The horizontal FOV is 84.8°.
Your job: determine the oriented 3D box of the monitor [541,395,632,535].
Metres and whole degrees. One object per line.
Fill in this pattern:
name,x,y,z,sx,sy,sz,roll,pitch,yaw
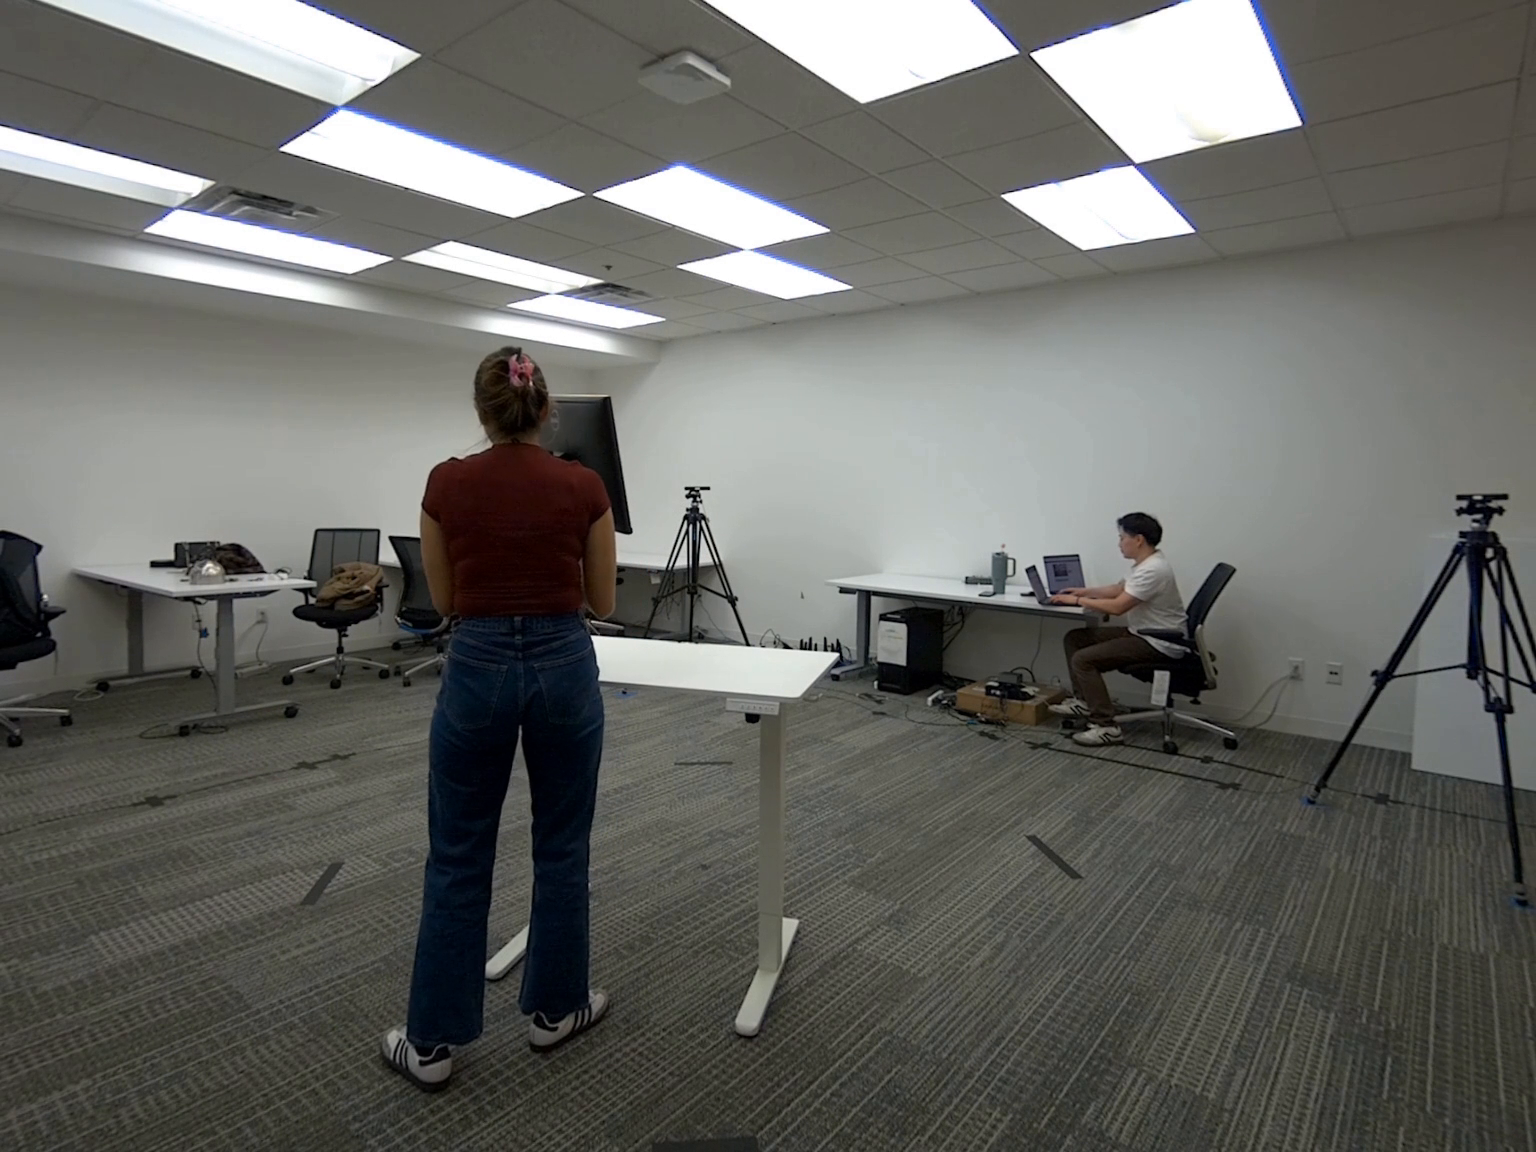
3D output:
monitor,-0.570,-0.230,2.325,0.181,0.519,0.559,-2,10,-38
